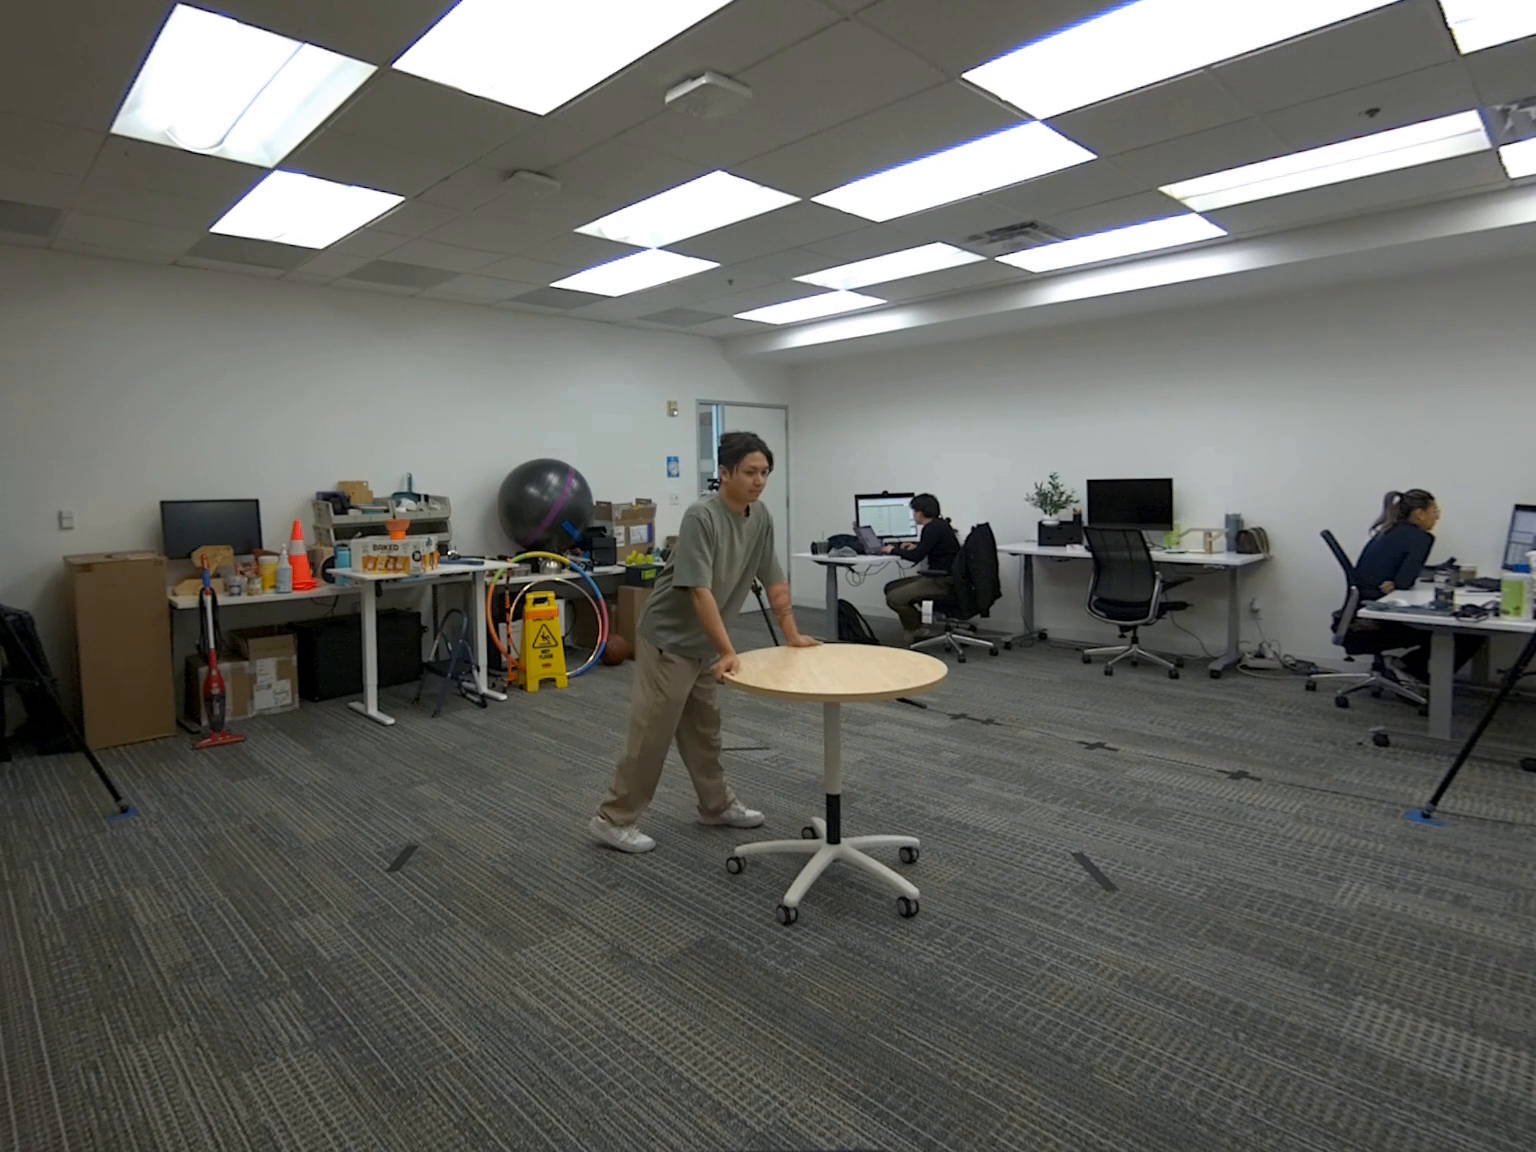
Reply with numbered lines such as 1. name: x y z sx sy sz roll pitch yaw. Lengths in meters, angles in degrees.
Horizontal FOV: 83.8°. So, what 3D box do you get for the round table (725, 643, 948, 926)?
1. round table: 0.206 0.680 2.923 0.784 0.783 0.789 -1 5 -2
